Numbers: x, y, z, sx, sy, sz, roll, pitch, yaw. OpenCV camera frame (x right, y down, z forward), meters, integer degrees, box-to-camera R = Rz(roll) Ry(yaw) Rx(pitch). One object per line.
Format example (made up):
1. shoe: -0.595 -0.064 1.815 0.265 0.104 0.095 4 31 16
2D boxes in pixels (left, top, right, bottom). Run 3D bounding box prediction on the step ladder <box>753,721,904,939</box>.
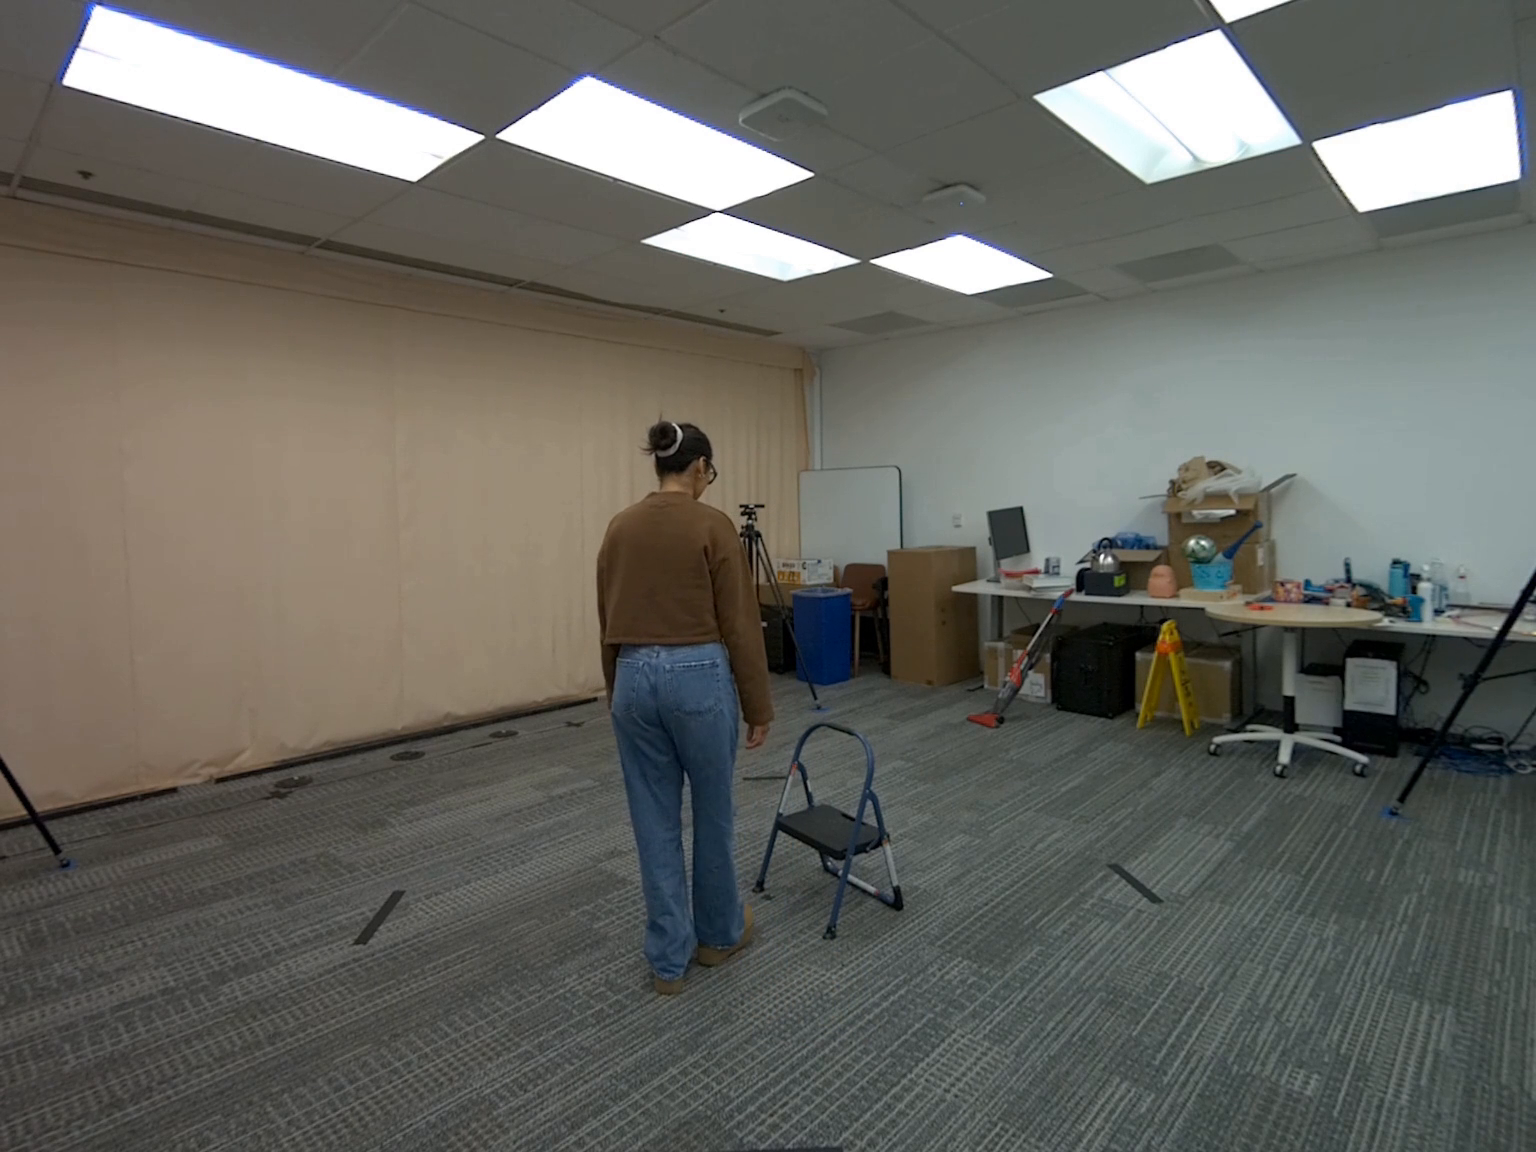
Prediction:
1. step ladder: 0.209 0.833 2.938 0.339 0.605 0.444 -3 4 -35
